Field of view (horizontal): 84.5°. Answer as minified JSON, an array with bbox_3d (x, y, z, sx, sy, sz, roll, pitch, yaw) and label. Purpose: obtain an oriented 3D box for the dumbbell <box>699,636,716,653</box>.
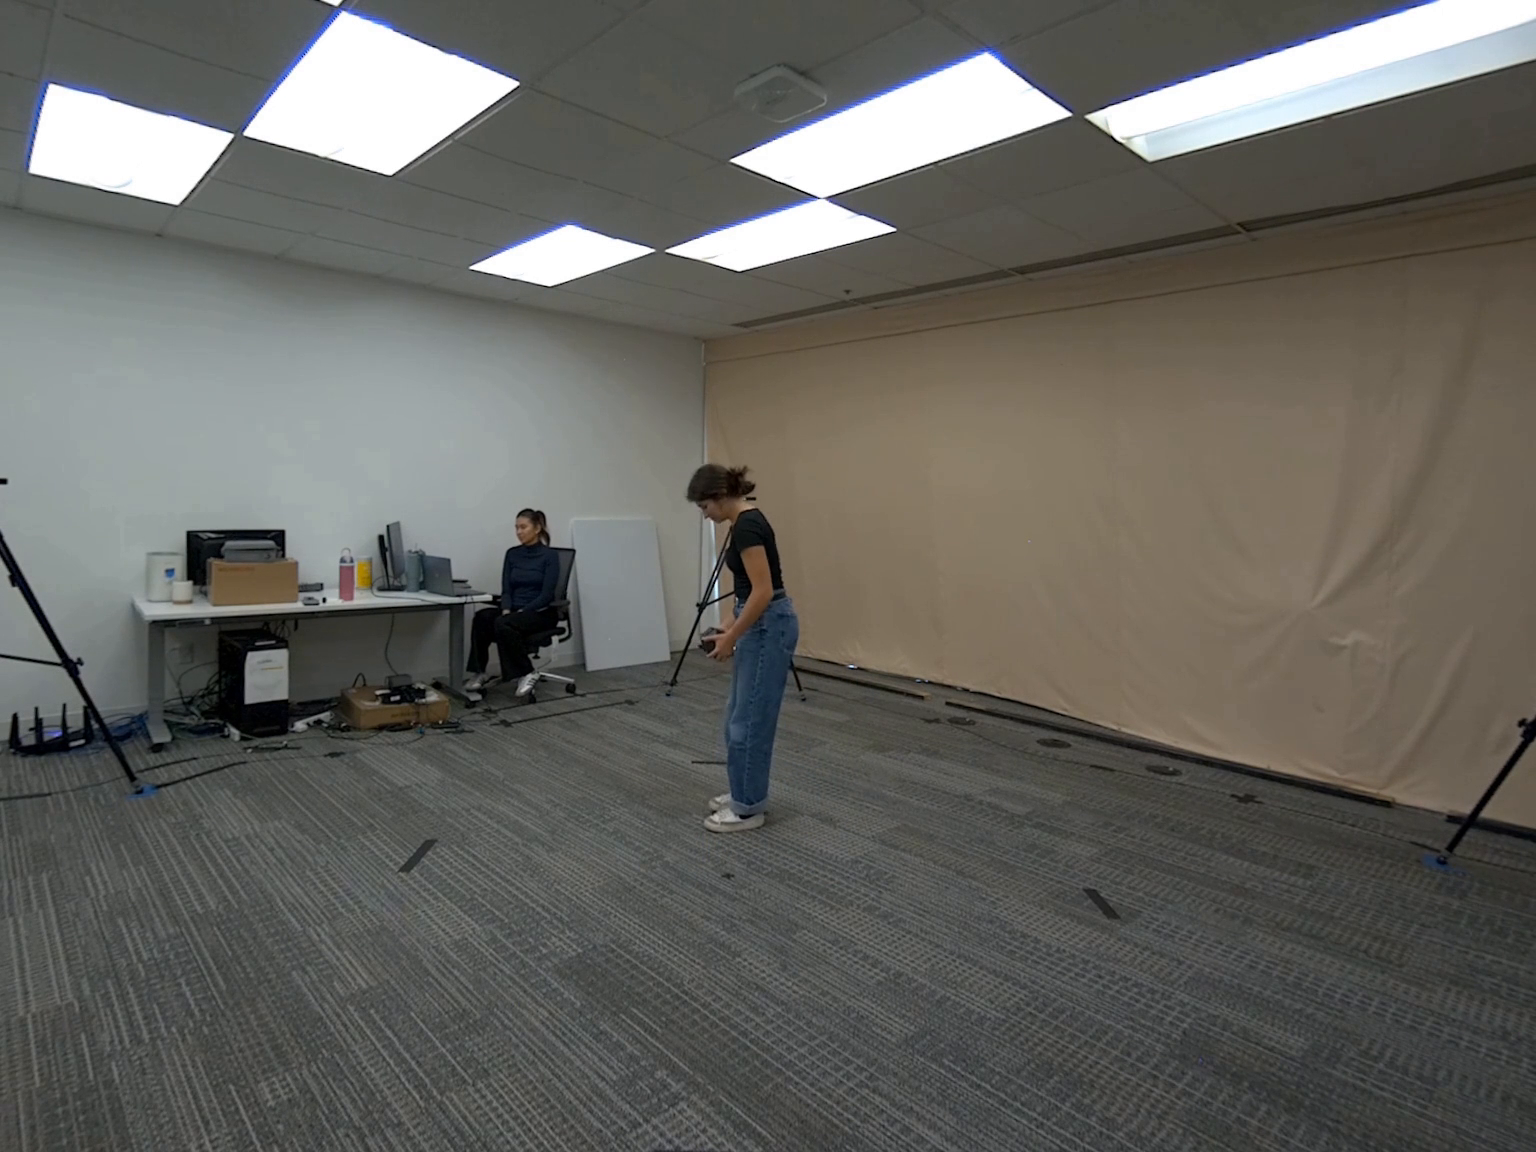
[{"bbox_3d":[-0.225,0.288,3.597,0.122,0.109,0.295,19,-3,-7],"label":"dumbbell"}]
